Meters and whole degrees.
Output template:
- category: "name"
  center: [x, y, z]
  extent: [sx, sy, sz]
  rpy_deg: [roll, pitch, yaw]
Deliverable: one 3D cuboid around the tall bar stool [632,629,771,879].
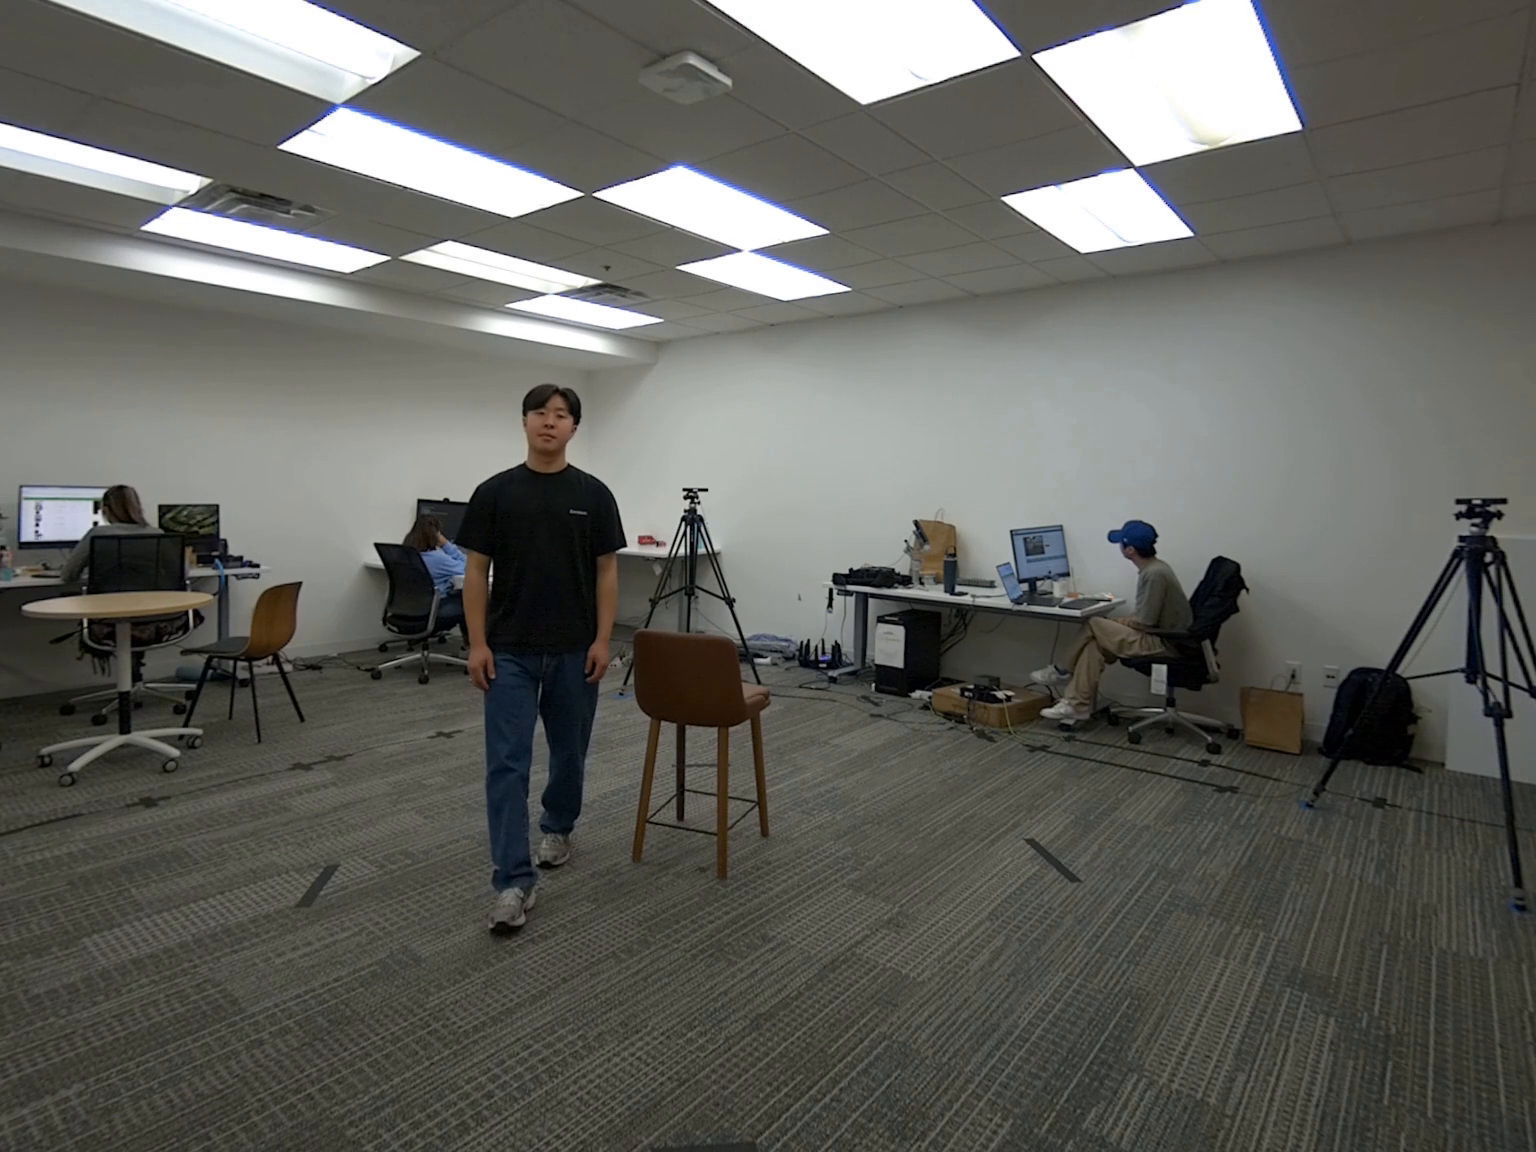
- category: "tall bar stool"
  center: [-0.266, 0.617, 3.282]
  extent: [0.467, 0.886, 0.459]
  rpy_deg: [2, 5, 22]
